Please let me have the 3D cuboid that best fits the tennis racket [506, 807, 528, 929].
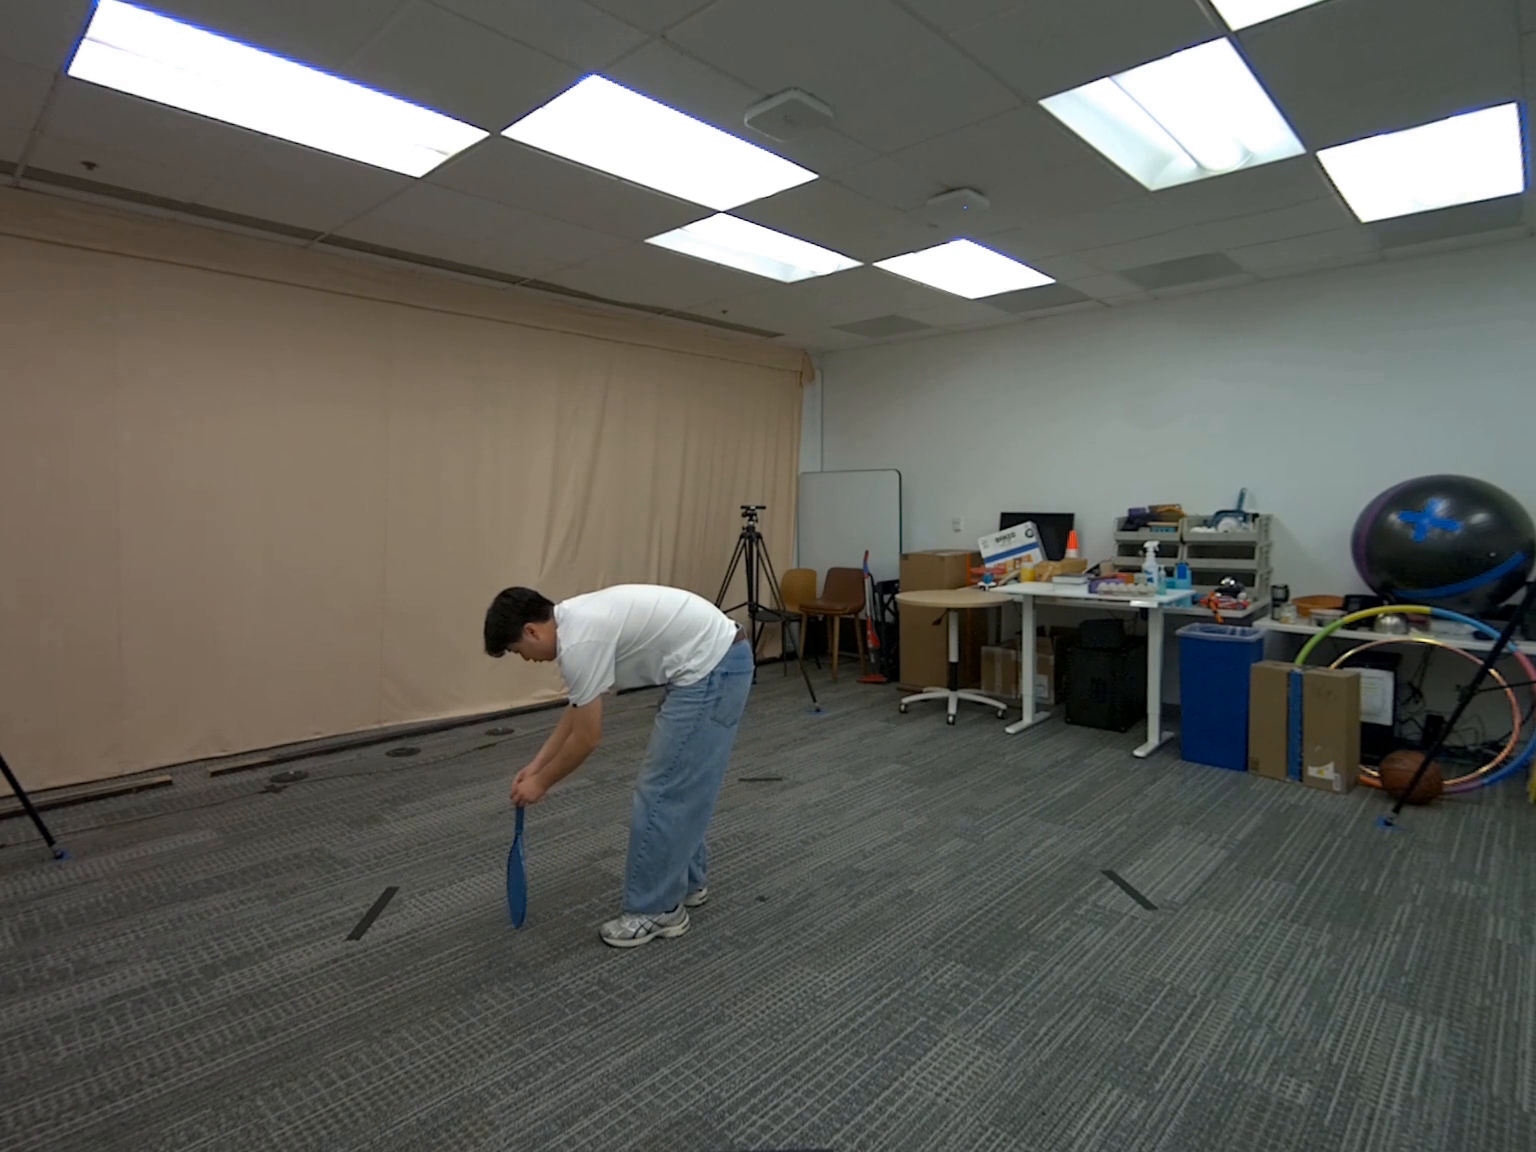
[{"bbox_3d":[-0.839,0.951,2.811,0.031,0.433,0.220,0,1,-37],"label":"tennis racket"}]
